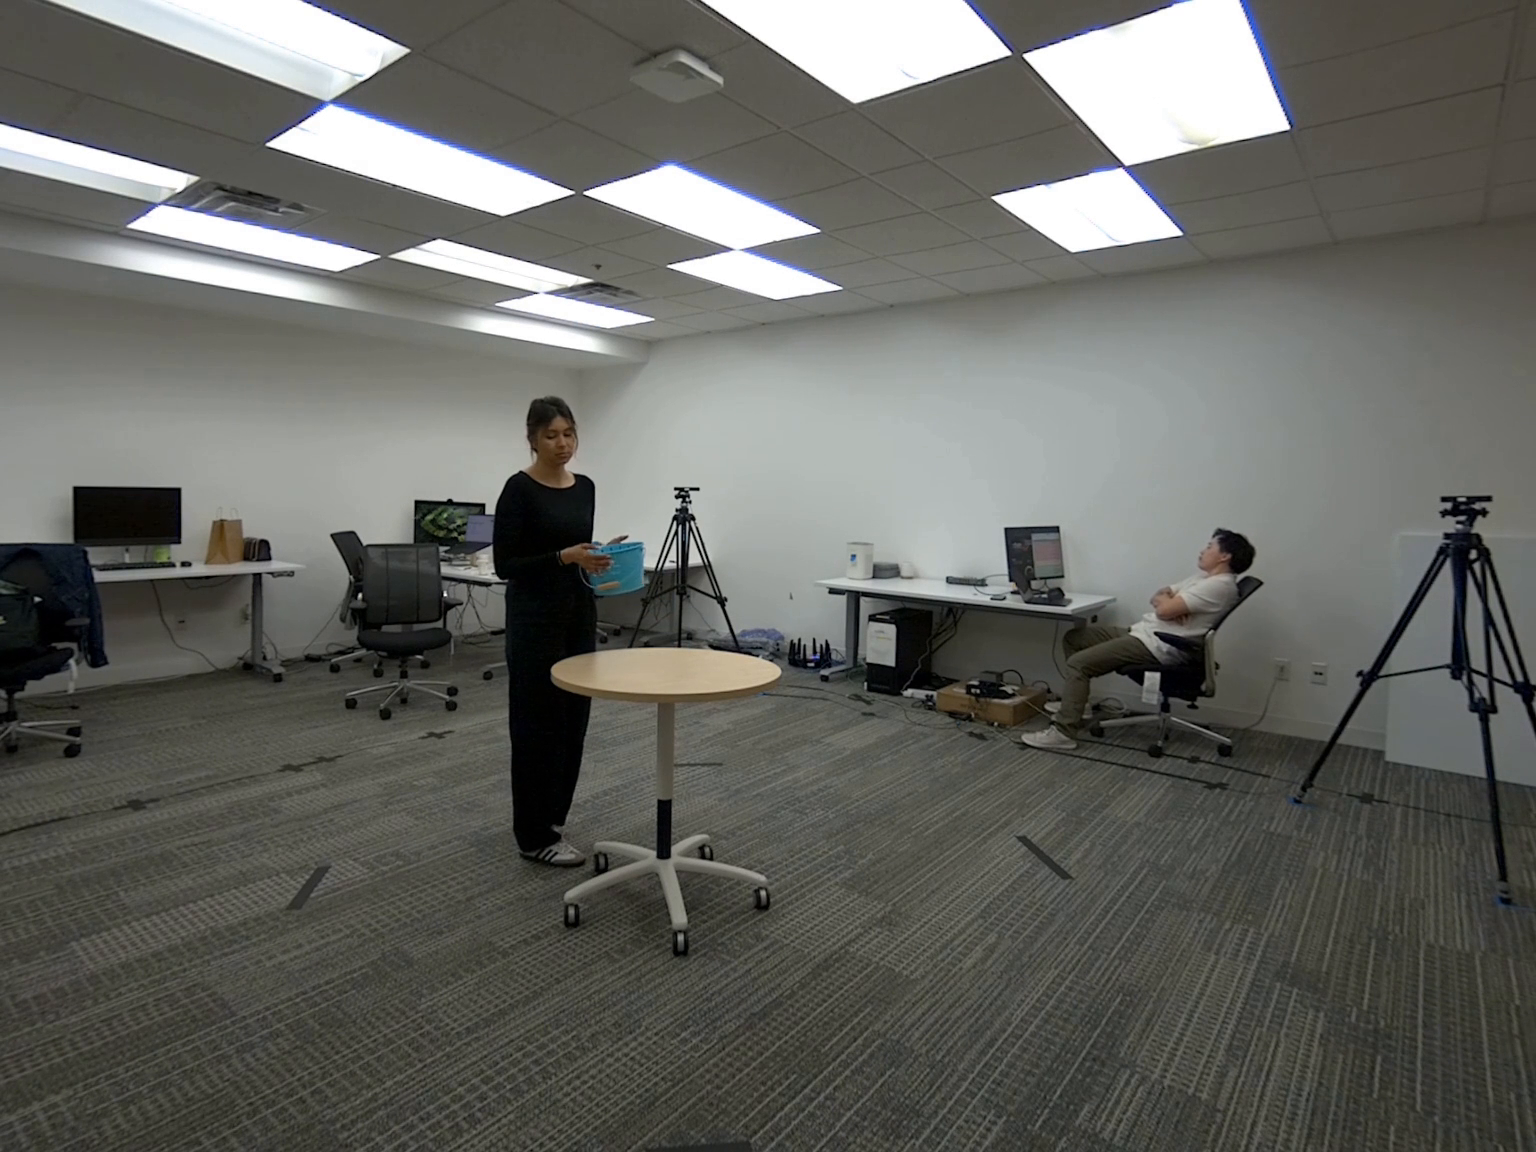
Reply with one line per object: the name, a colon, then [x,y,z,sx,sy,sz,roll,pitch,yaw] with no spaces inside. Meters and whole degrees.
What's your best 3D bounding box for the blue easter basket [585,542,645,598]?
blue easter basket: [-0.569,-0.022,3.038,0.243,0.154,0.246,-8,9,-1]
